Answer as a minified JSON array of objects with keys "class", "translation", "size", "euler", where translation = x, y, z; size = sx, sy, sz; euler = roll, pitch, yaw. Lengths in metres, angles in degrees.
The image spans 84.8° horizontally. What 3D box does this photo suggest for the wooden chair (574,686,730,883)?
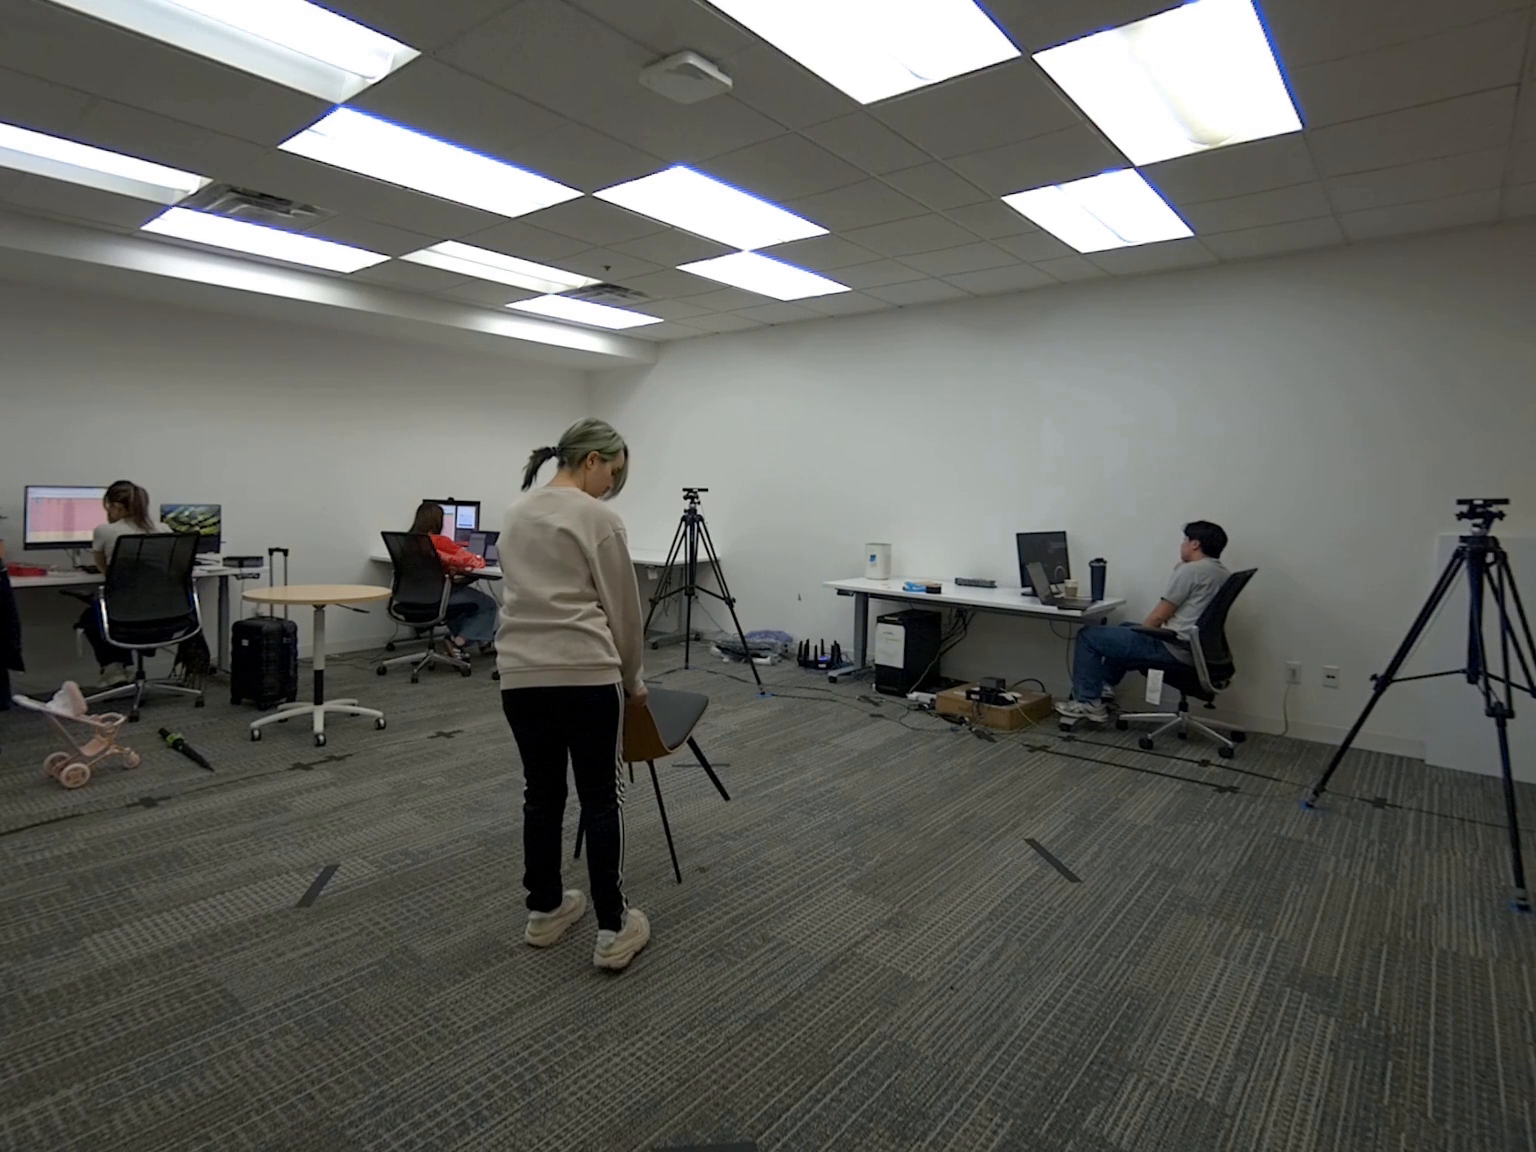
[{"class":"wooden chair","translation":[-0.495,0.582,3.110],"size":[0.490,0.854,0.524],"euler":[3,30,24]}]
